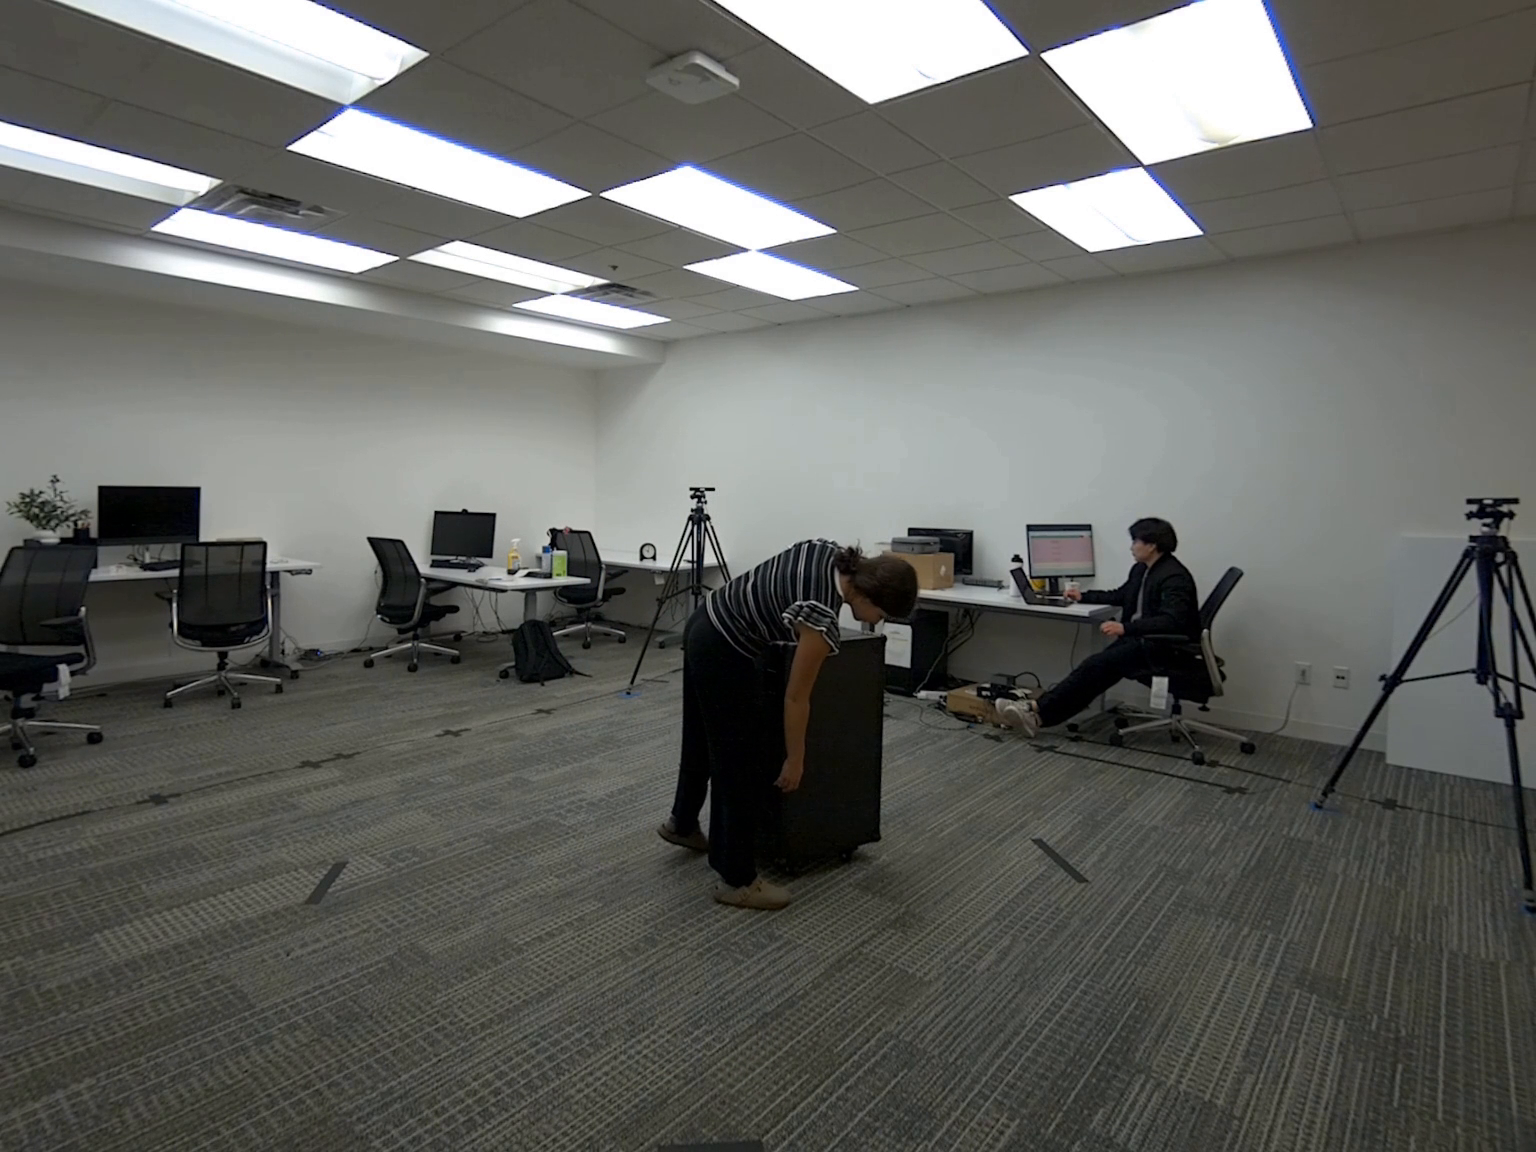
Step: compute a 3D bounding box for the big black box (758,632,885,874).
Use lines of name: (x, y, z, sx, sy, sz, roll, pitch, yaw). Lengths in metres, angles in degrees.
big black box: (0.126, 0.637, 3.237, 0.506, 0.859, 0.409, -1, 3, -34)
